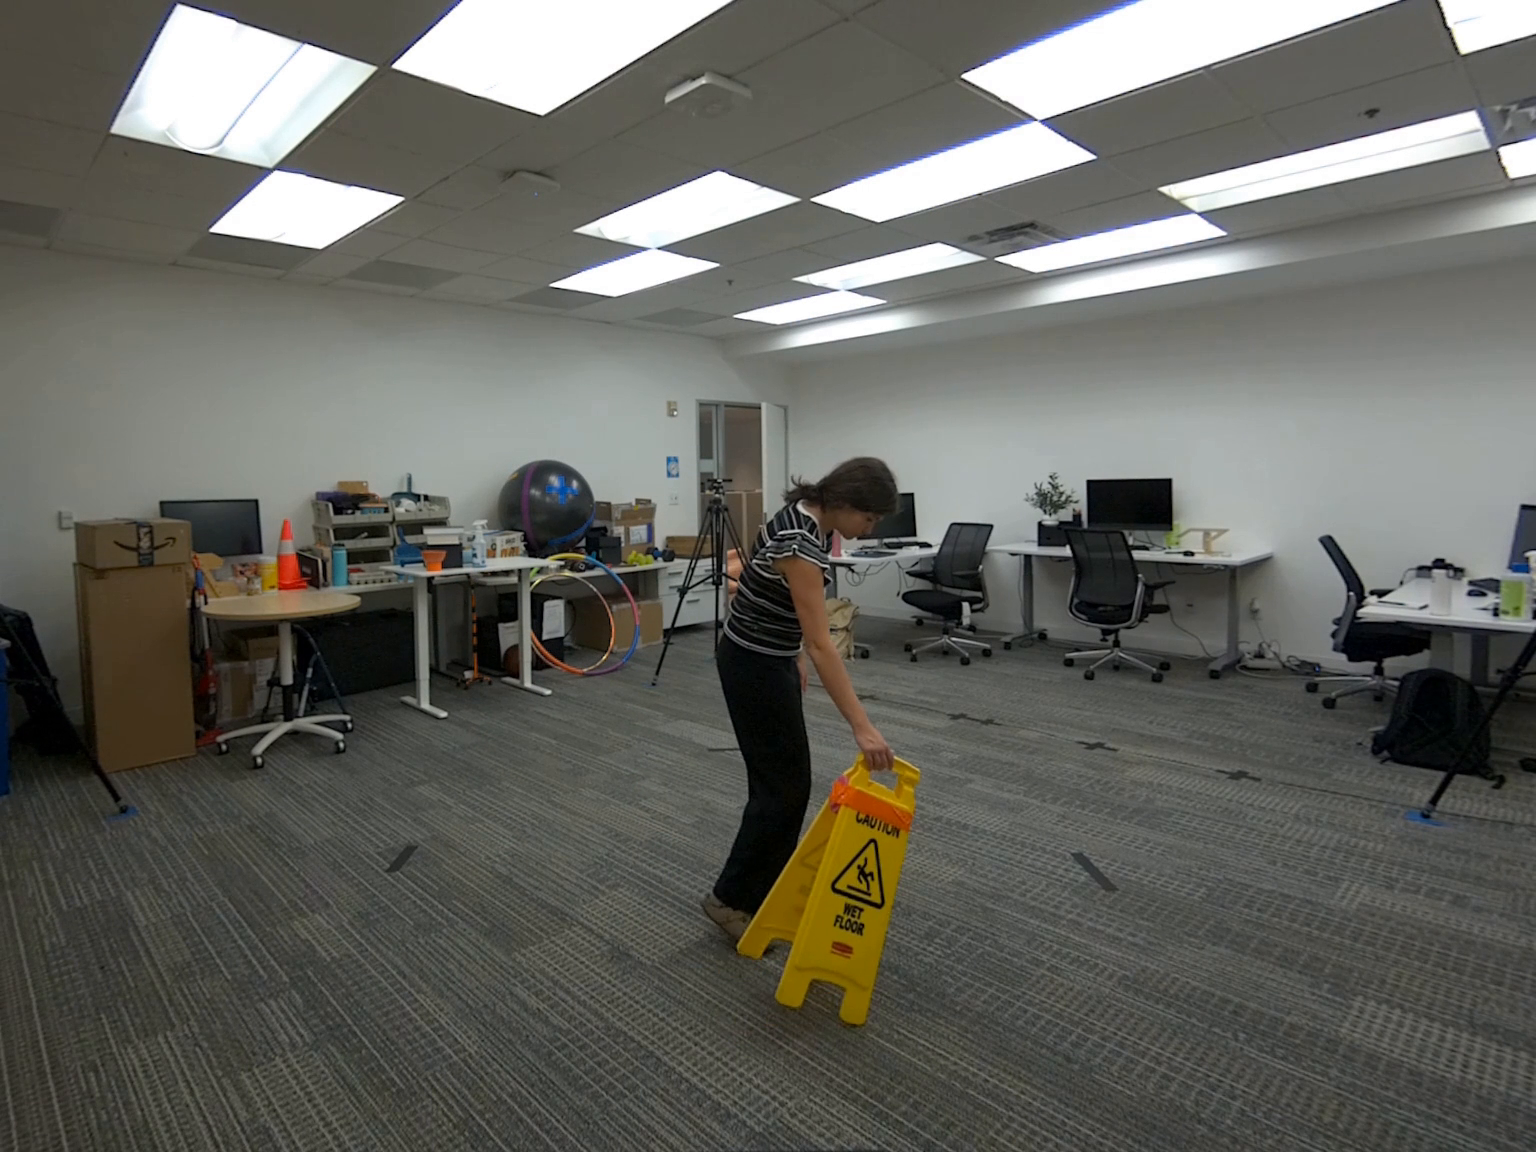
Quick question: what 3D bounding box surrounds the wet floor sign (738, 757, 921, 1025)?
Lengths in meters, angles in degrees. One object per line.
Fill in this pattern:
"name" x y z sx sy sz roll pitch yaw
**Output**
"wet floor sign" 0.214 0.787 2.278 0.276 0.649 0.295 26 -10 -20
